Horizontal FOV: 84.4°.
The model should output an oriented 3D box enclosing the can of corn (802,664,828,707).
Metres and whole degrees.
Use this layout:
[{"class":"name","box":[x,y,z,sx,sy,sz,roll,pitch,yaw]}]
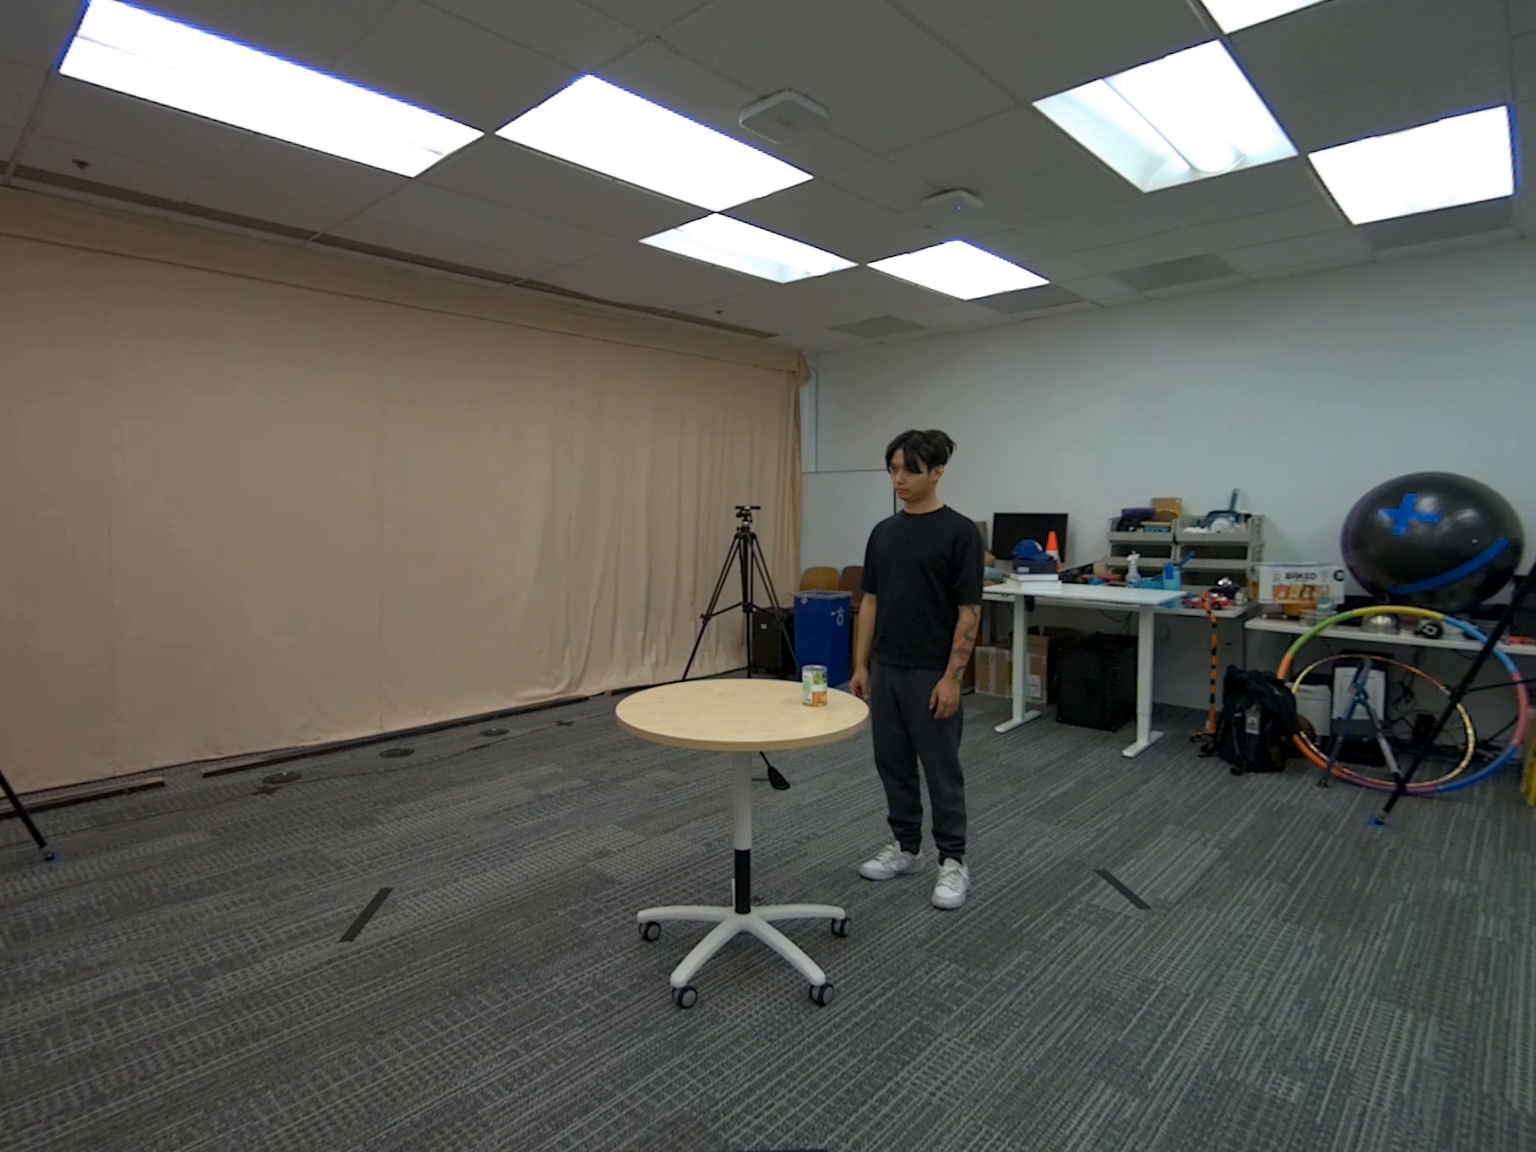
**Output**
[{"class":"can of corn","box":[0.150,0.338,2.583,0.074,0.111,0.074,1,3,-2]}]
